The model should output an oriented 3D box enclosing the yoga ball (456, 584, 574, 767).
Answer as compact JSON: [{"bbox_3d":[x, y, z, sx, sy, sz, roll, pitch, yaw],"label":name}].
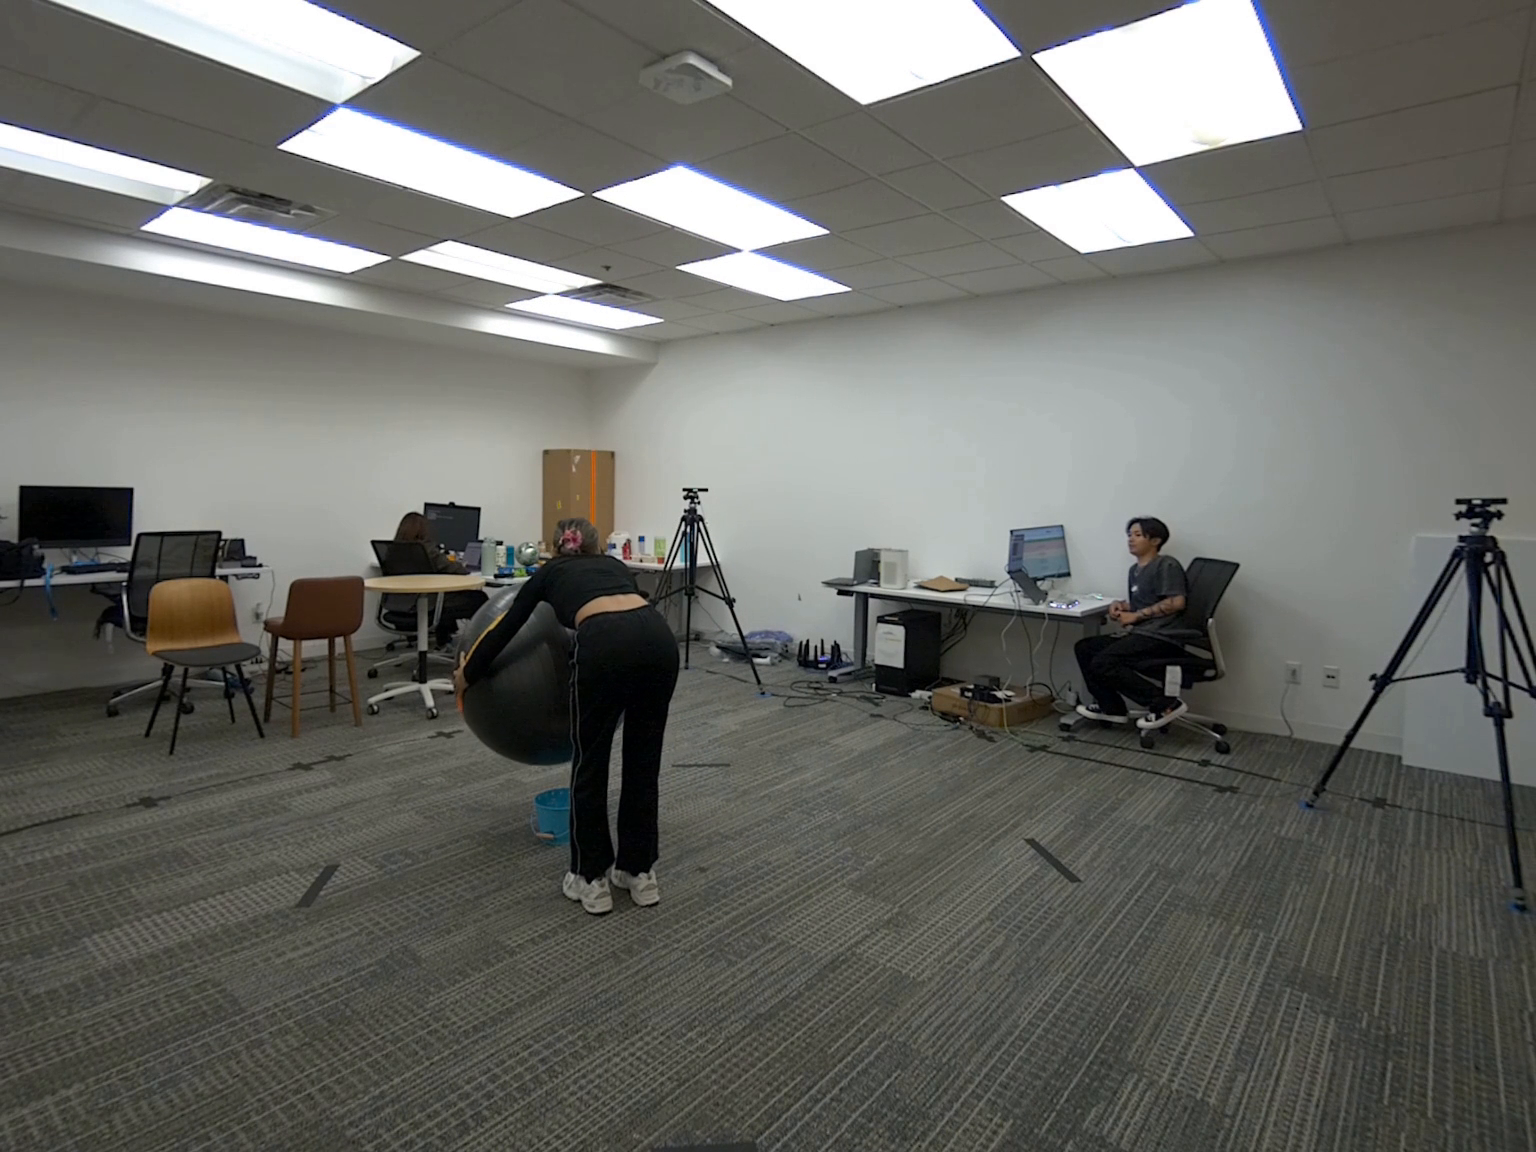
[{"bbox_3d":[-0.927,0.388,3.508,0.757,0.755,0.762,1,4,-2],"label":"yoga ball"}]
